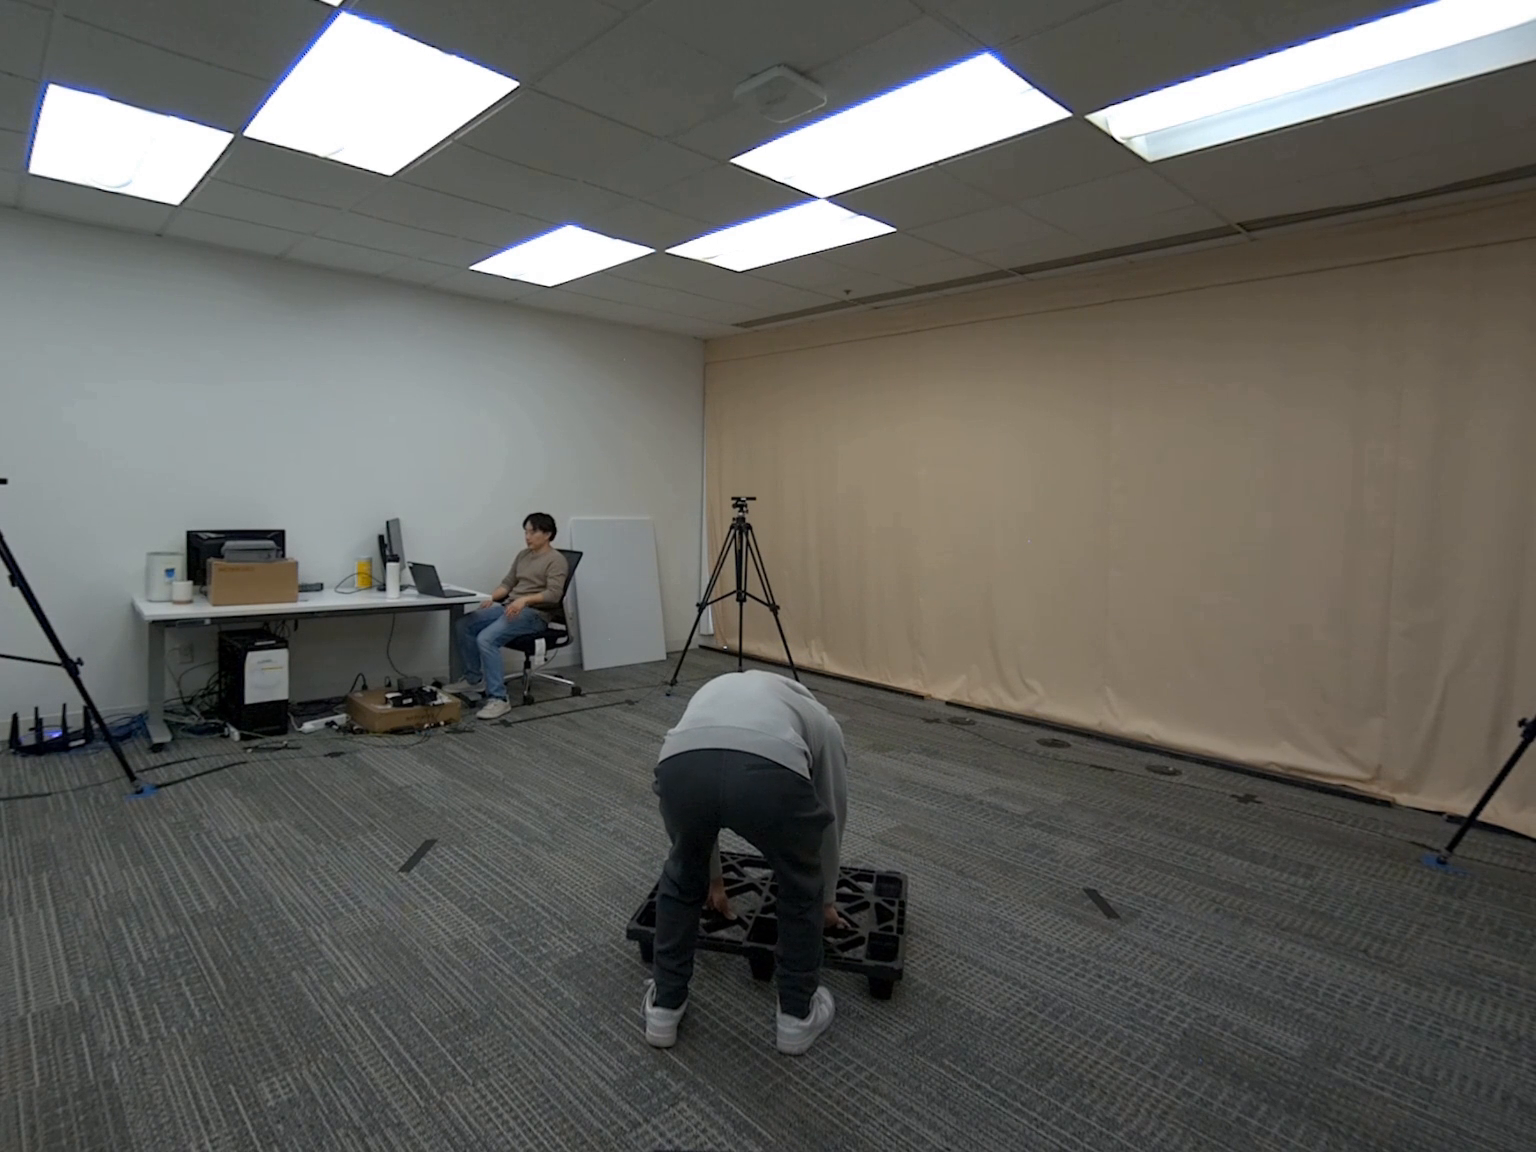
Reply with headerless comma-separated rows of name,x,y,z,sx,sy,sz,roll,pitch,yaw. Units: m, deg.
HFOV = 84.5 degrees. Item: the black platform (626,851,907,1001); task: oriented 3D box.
black platform,0.023,1.080,2.655,0.814,0.143,0.601,2,6,12
